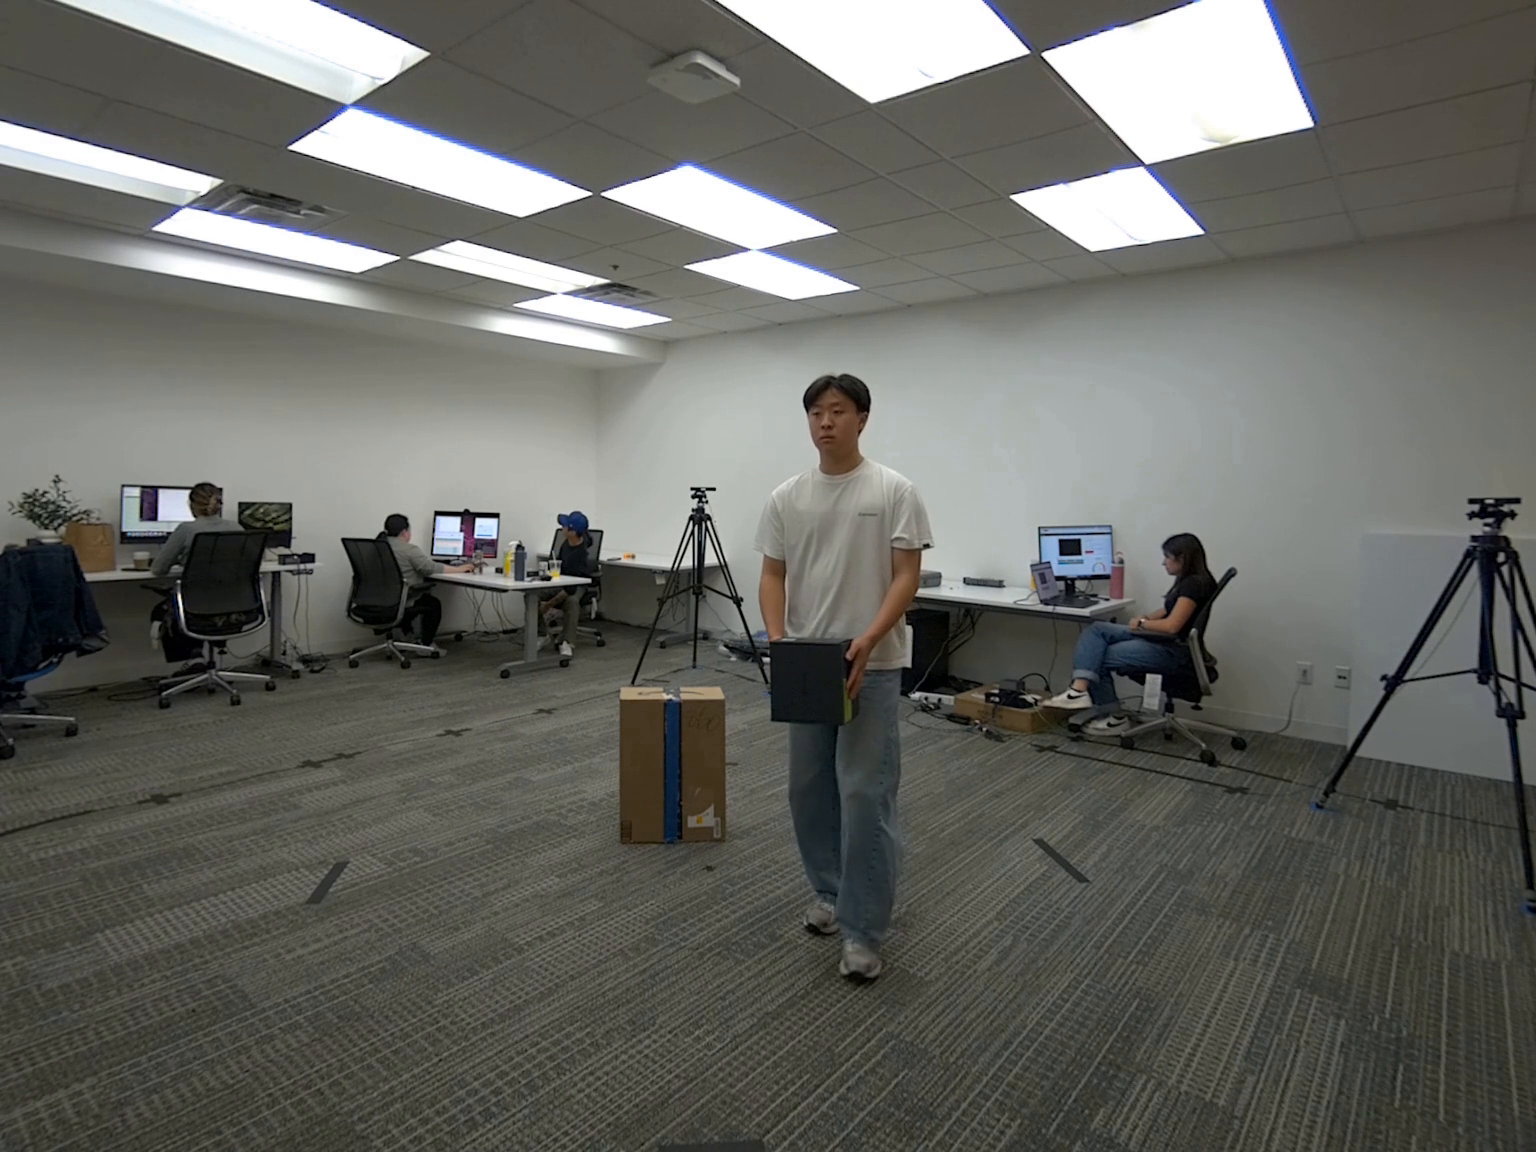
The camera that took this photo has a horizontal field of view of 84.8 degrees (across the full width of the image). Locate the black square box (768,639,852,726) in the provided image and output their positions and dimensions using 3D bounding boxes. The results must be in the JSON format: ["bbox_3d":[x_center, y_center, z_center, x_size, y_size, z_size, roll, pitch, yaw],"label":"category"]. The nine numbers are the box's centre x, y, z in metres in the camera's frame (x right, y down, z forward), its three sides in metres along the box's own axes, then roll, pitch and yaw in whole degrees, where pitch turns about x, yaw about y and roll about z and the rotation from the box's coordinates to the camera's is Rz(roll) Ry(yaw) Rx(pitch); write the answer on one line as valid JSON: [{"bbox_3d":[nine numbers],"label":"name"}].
[{"bbox_3d":[0.124,0.297,2.440,0.222,0.227,0.153,1,2,21],"label":"black square box"}]
